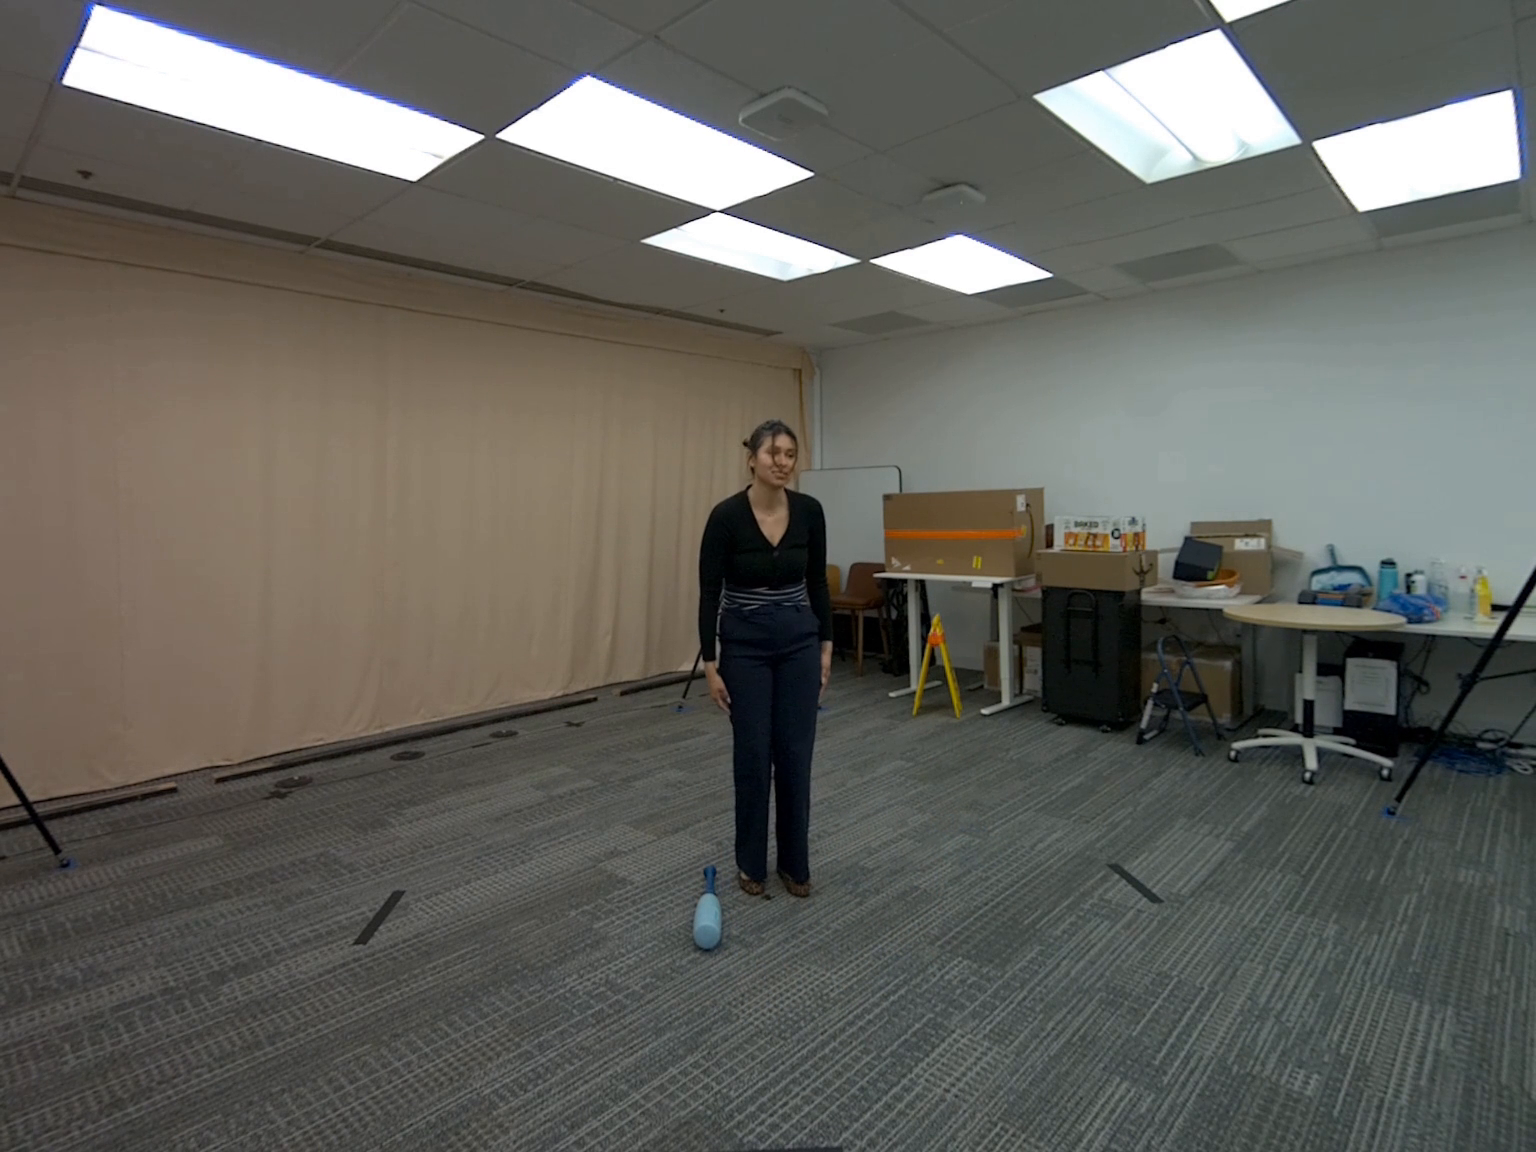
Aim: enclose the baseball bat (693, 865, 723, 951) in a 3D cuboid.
[{"bbox_3d":[-0.204,1.121,2.877,0.089,0.089,0.544,-1,1,-4],"label":"baseball bat"}]
